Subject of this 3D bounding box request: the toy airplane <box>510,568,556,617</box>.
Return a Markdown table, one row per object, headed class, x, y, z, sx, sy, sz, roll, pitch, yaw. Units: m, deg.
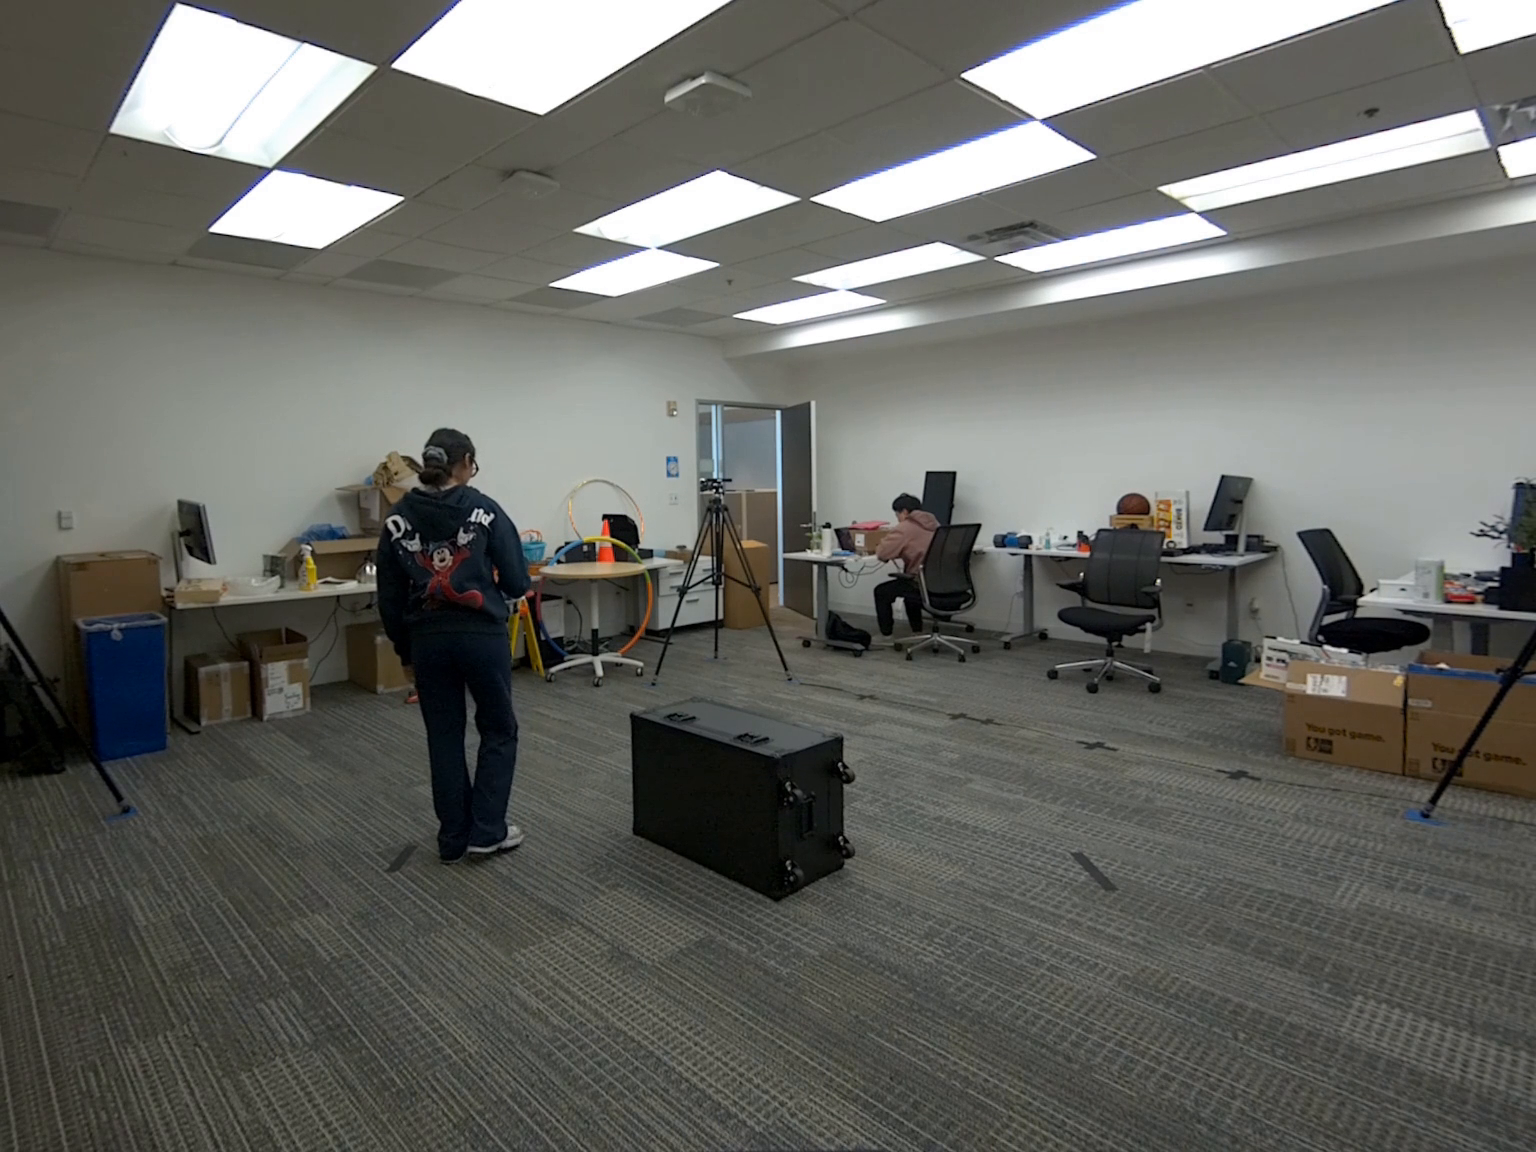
| class | x | y | z | sx | sy | sz | roll | pitch | yaw |
| --- | --- | --- | --- | --- | --- | --- | --- | --- | --- |
| toy airplane | -1.069 | 0.080 | 3.518 | 0.265 | 0.156 | 0.246 | -10 | 3 | 37 |
